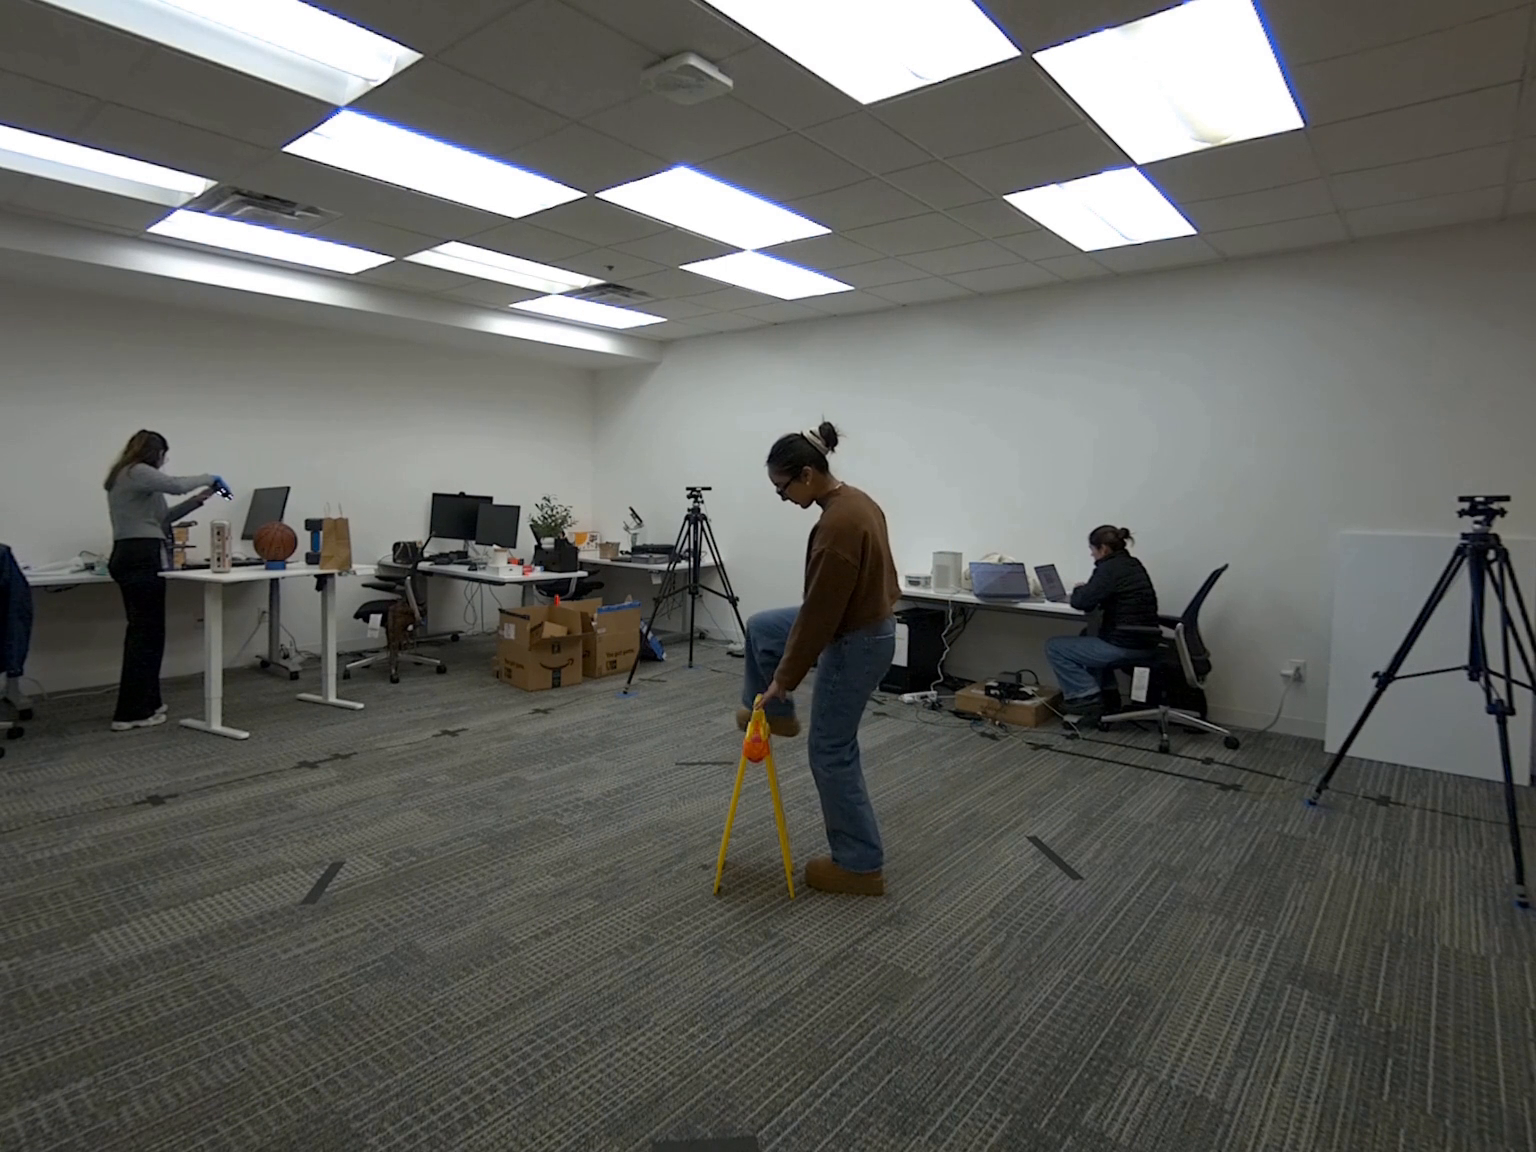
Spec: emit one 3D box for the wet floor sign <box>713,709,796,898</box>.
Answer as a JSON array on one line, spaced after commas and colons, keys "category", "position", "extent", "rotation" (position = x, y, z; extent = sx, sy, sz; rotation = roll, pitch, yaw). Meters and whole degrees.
[{"category": "wet floor sign", "position": [-0.048, 0.762, 3.016], "extent": [0.291, 0.644, 0.282], "rotation": [2, 3, 3]}]
